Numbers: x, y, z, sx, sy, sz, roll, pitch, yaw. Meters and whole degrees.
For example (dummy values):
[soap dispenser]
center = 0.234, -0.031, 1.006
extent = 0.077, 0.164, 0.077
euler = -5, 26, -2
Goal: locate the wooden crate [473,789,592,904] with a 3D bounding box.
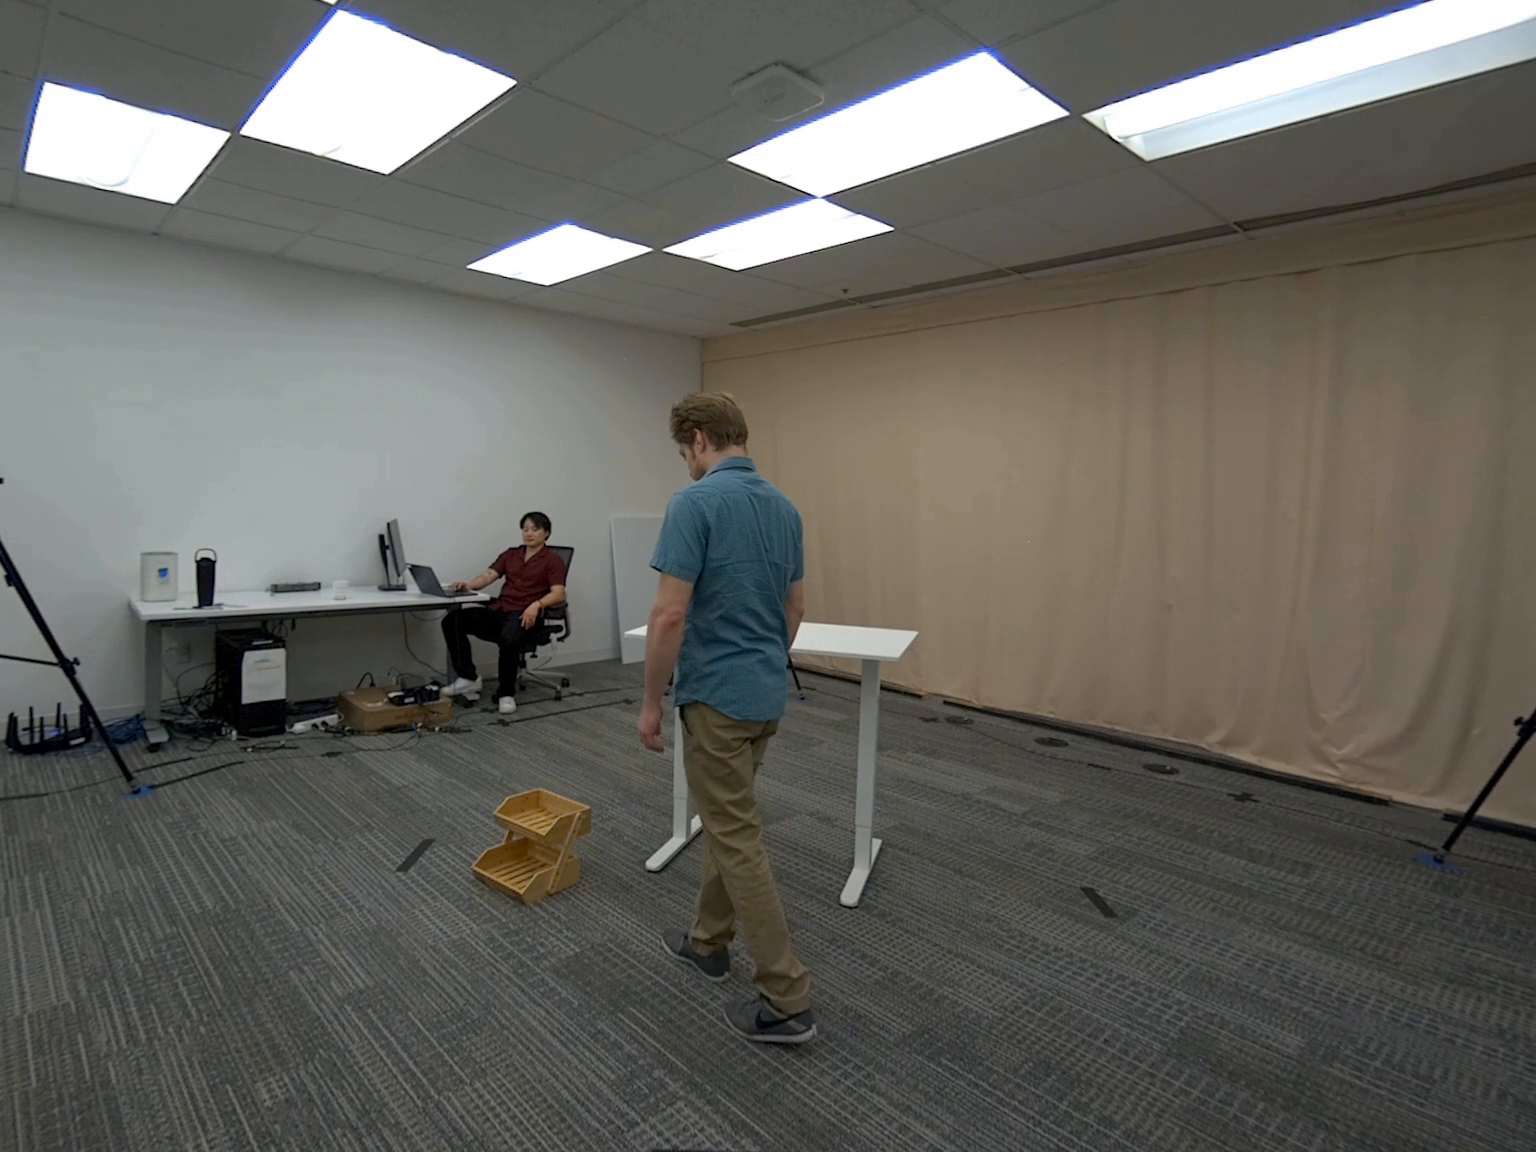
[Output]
[wooden crate]
center = -0.863, 0.965, 3.029
extent = 0.332, 0.272, 0.295
euler = 5, 5, 38
